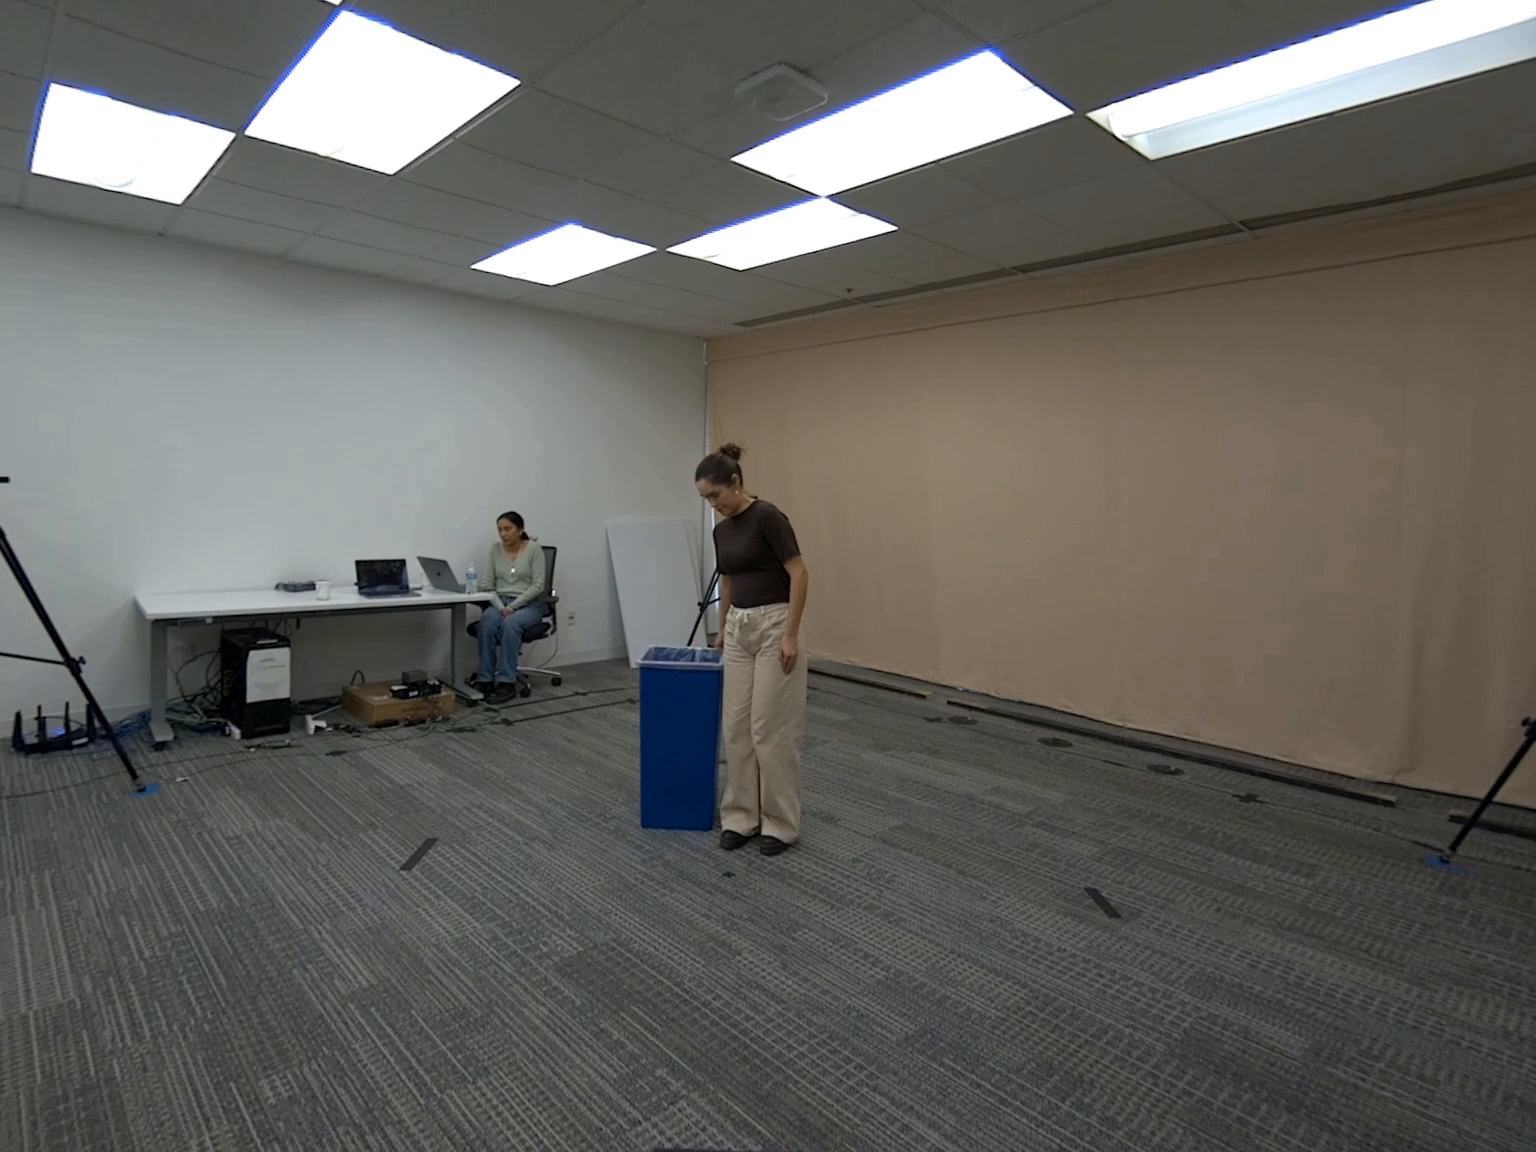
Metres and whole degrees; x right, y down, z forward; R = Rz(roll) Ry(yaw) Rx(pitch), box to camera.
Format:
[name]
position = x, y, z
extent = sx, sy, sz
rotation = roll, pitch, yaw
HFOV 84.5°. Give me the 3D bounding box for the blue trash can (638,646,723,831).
[blue trash can]
position = -0.385, 0.692, 3.645
extent = 0.375, 0.711, 0.378
rotation = 2, 4, 1
